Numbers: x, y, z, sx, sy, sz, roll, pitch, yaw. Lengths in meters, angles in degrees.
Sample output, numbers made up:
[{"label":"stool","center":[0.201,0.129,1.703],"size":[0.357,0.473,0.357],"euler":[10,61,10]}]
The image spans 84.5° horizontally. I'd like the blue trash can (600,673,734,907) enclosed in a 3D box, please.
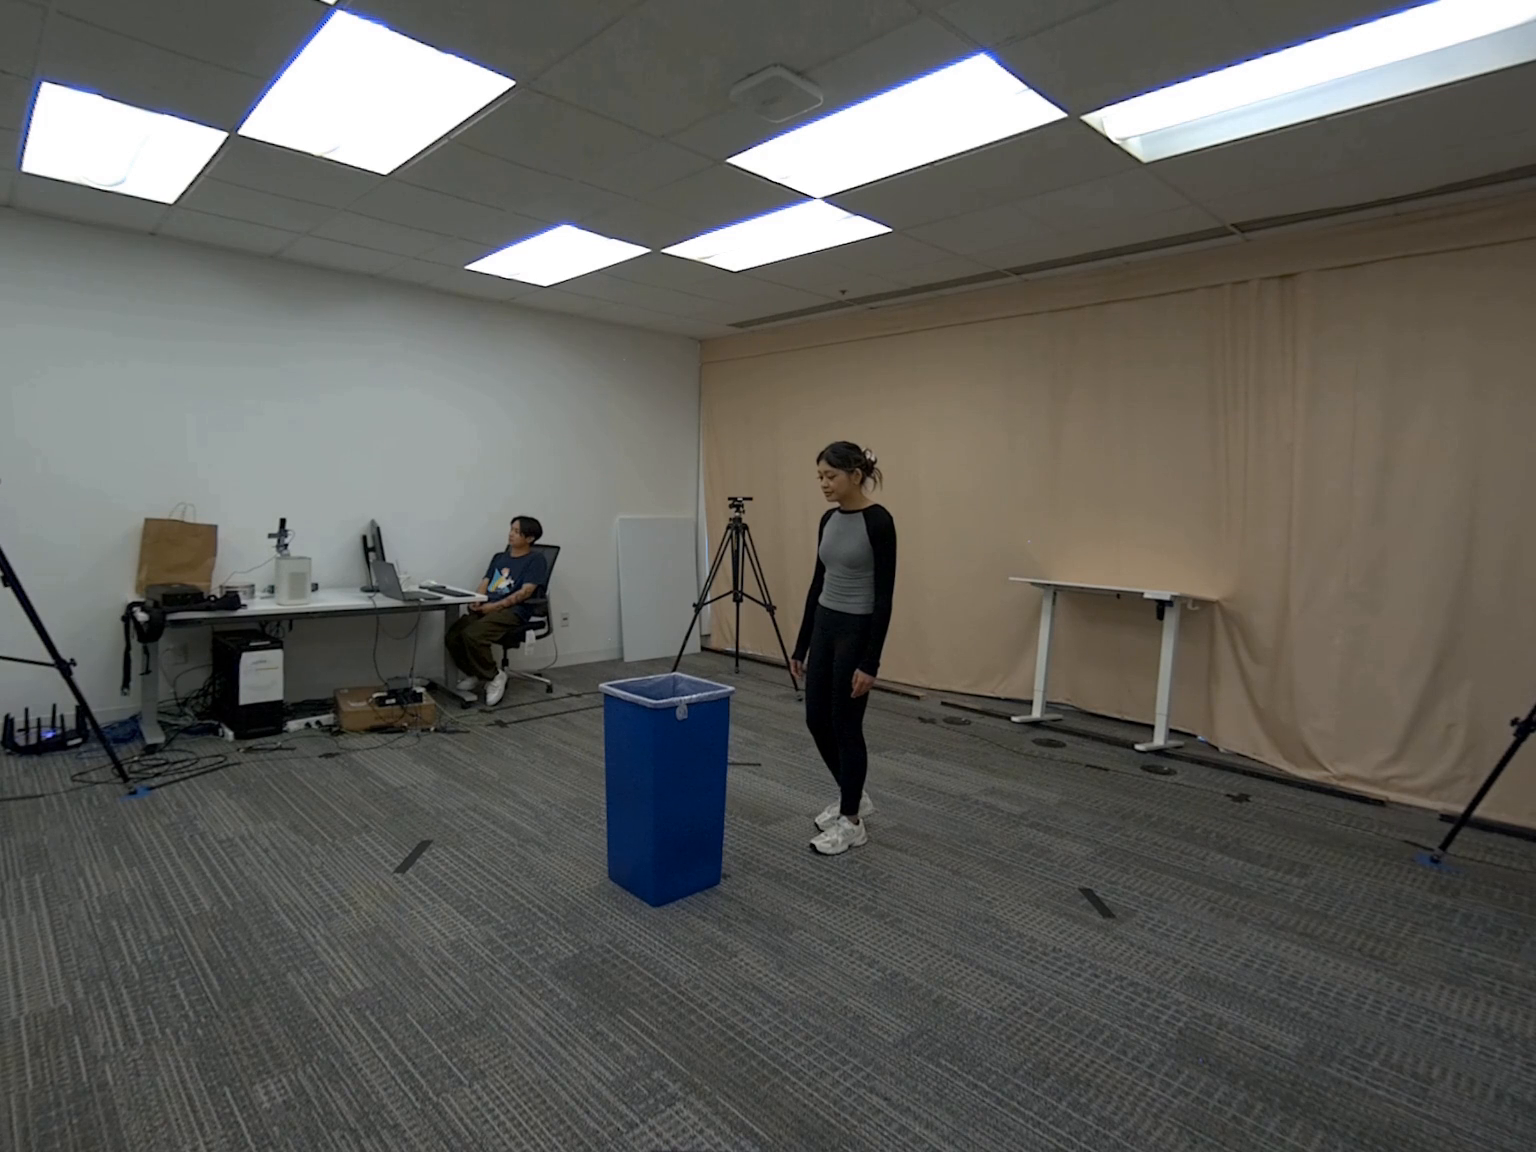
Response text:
[{"label":"blue trash can","center":[-0.383,0.751,3.039],"size":[0.369,0.712,0.383],"euler":[-2,5,-43]}]
